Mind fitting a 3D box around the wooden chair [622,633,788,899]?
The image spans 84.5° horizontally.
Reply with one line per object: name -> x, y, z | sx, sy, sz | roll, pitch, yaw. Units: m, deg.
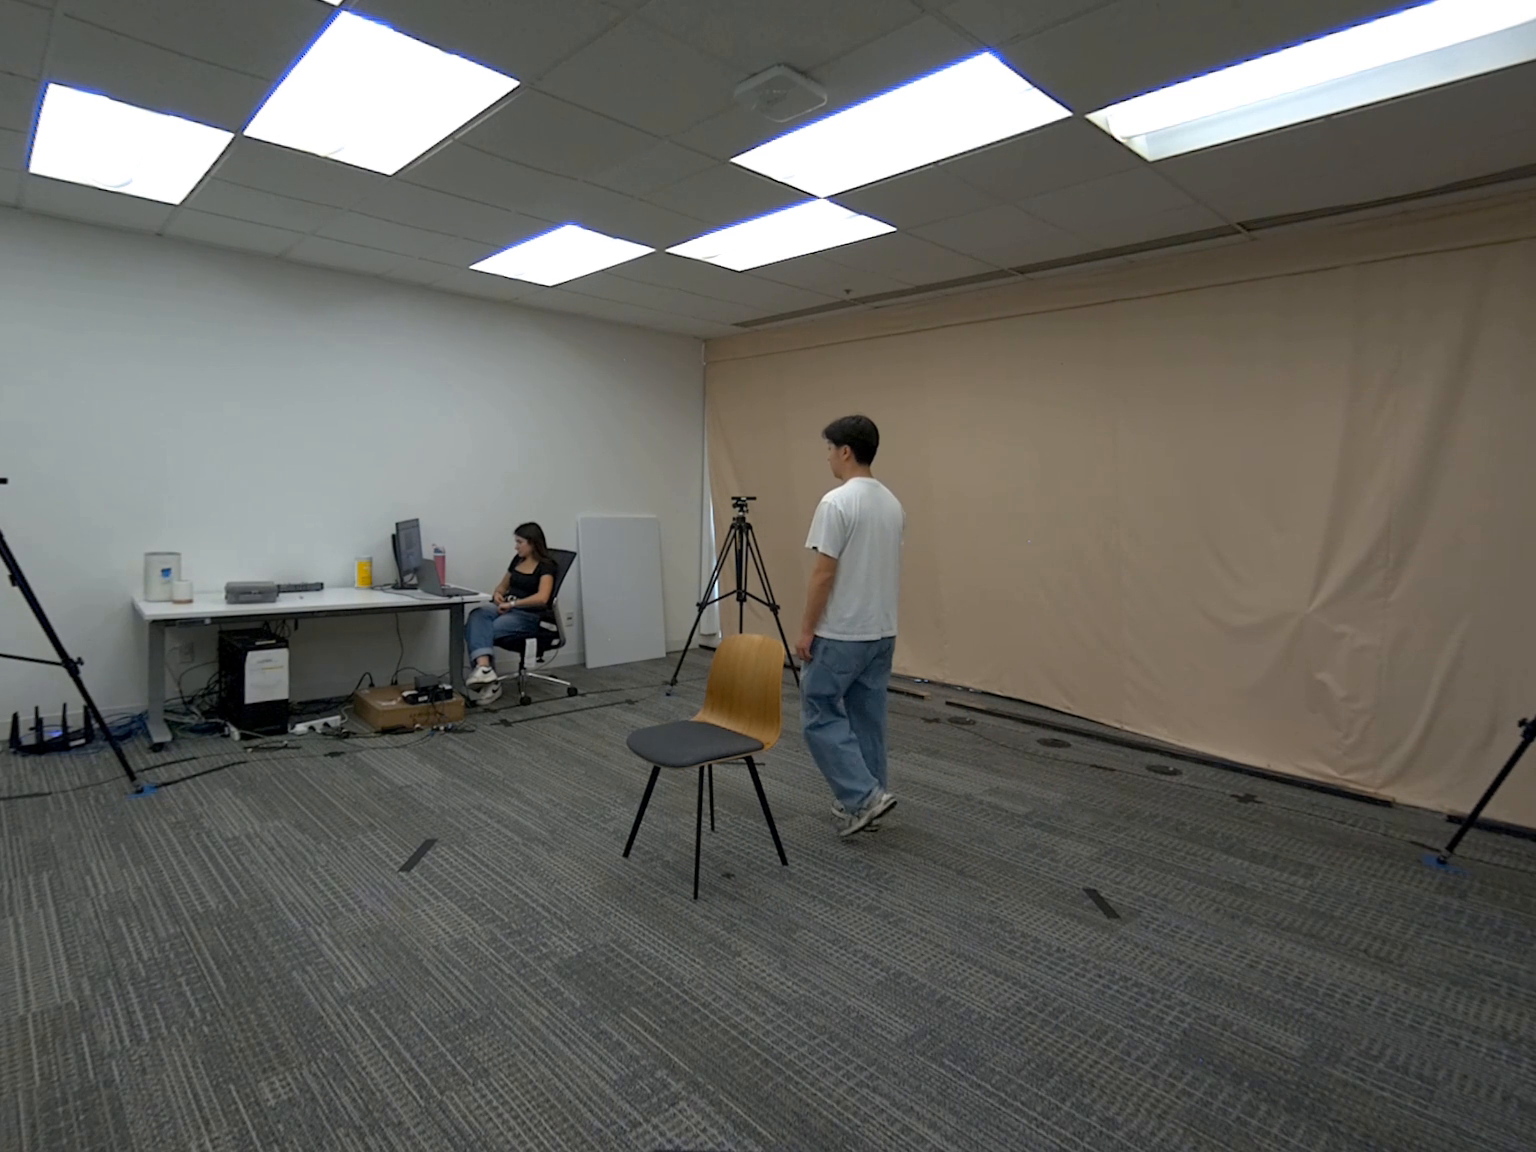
wooden chair -> -0.241, 0.670, 3.186 | 0.510, 0.877, 0.490 | 4, 0, -42
